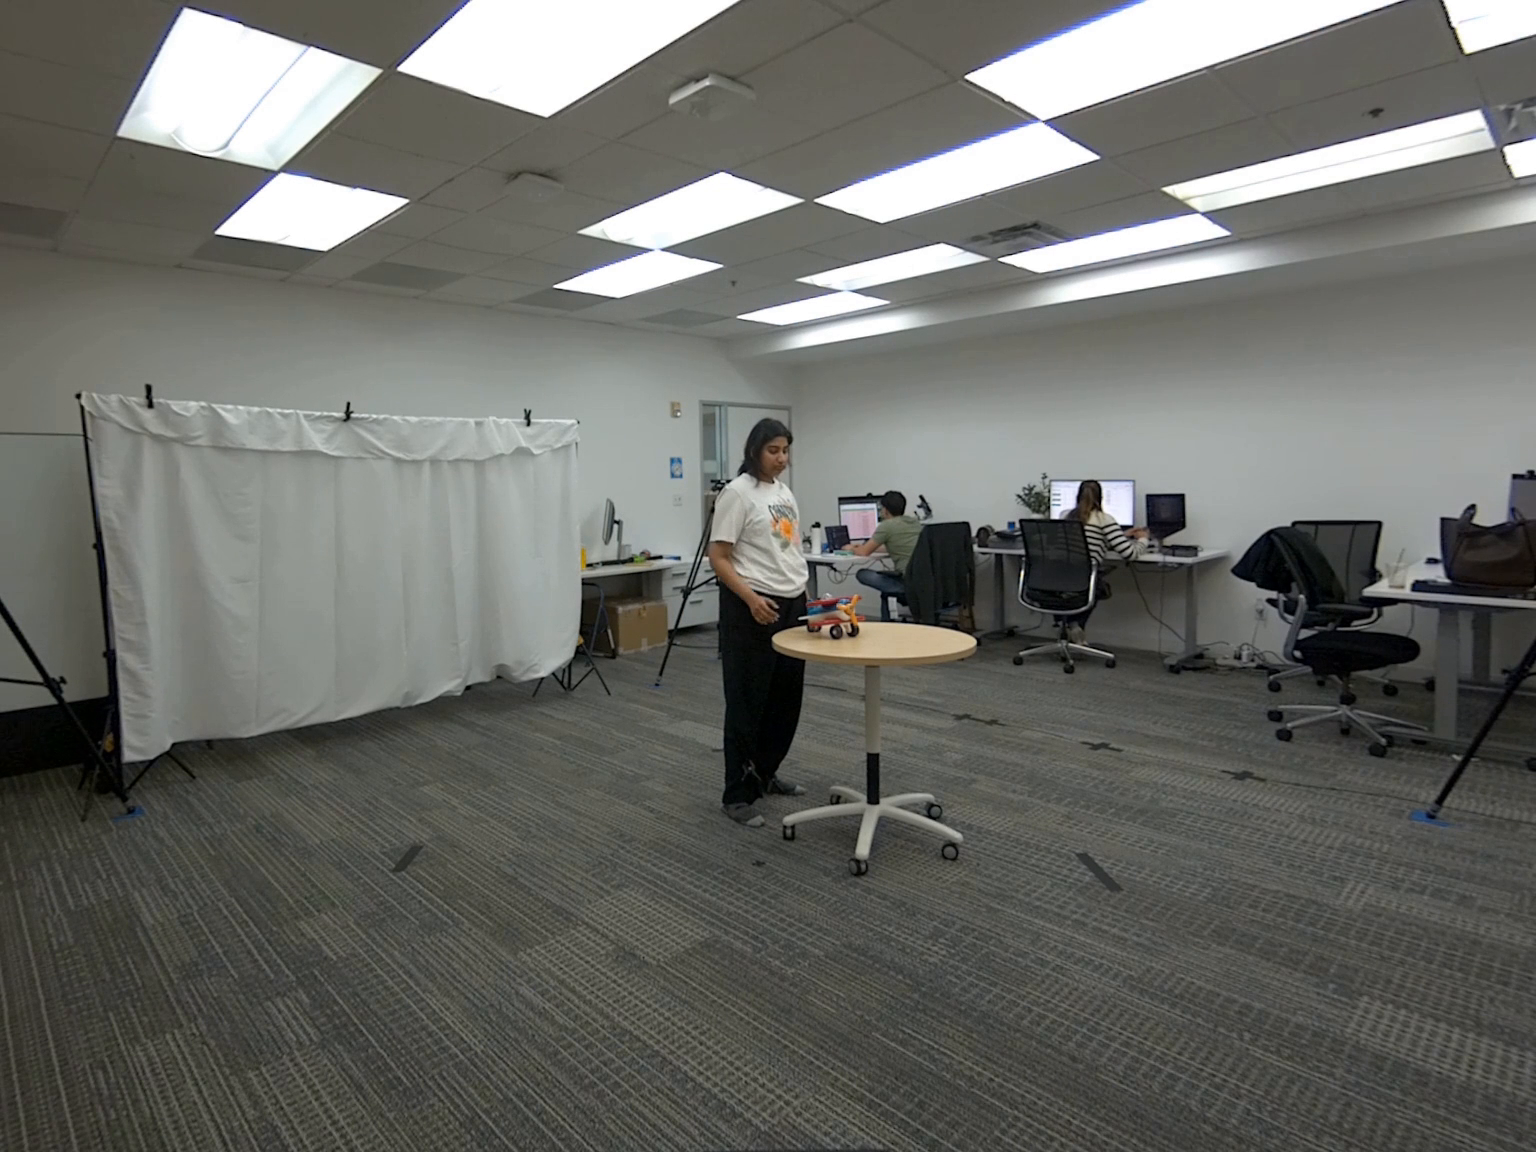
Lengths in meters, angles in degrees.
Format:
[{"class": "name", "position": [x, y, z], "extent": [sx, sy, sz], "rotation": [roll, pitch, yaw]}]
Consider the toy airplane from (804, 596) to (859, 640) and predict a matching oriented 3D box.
[{"class": "toy airplane", "position": [0.232, 0.156, 3.343], "extent": [0.265, 0.156, 0.246], "rotation": [3, 7, 25]}]
